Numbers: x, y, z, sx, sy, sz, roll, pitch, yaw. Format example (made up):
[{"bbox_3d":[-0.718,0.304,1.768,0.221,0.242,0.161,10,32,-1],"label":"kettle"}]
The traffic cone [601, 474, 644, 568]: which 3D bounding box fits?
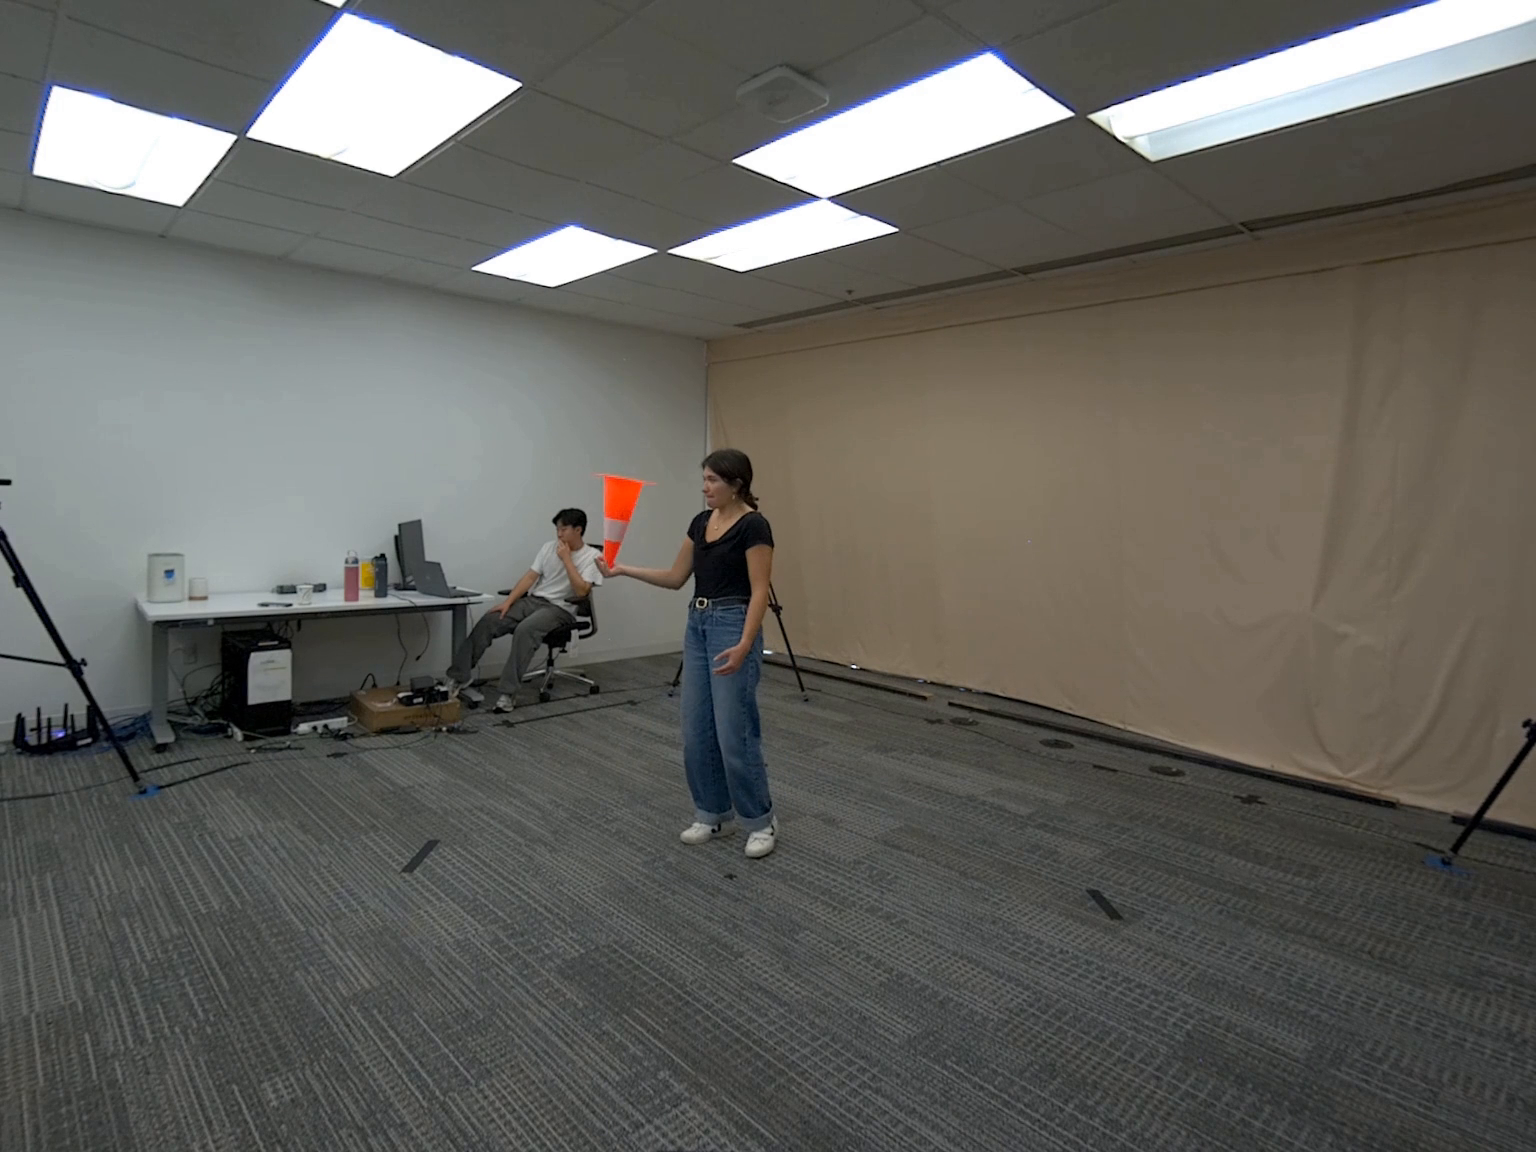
[{"bbox_3d":[-0.614,-0.200,3.403,0.210,0.382,0.198,11,6,38],"label":"traffic cone"}]
